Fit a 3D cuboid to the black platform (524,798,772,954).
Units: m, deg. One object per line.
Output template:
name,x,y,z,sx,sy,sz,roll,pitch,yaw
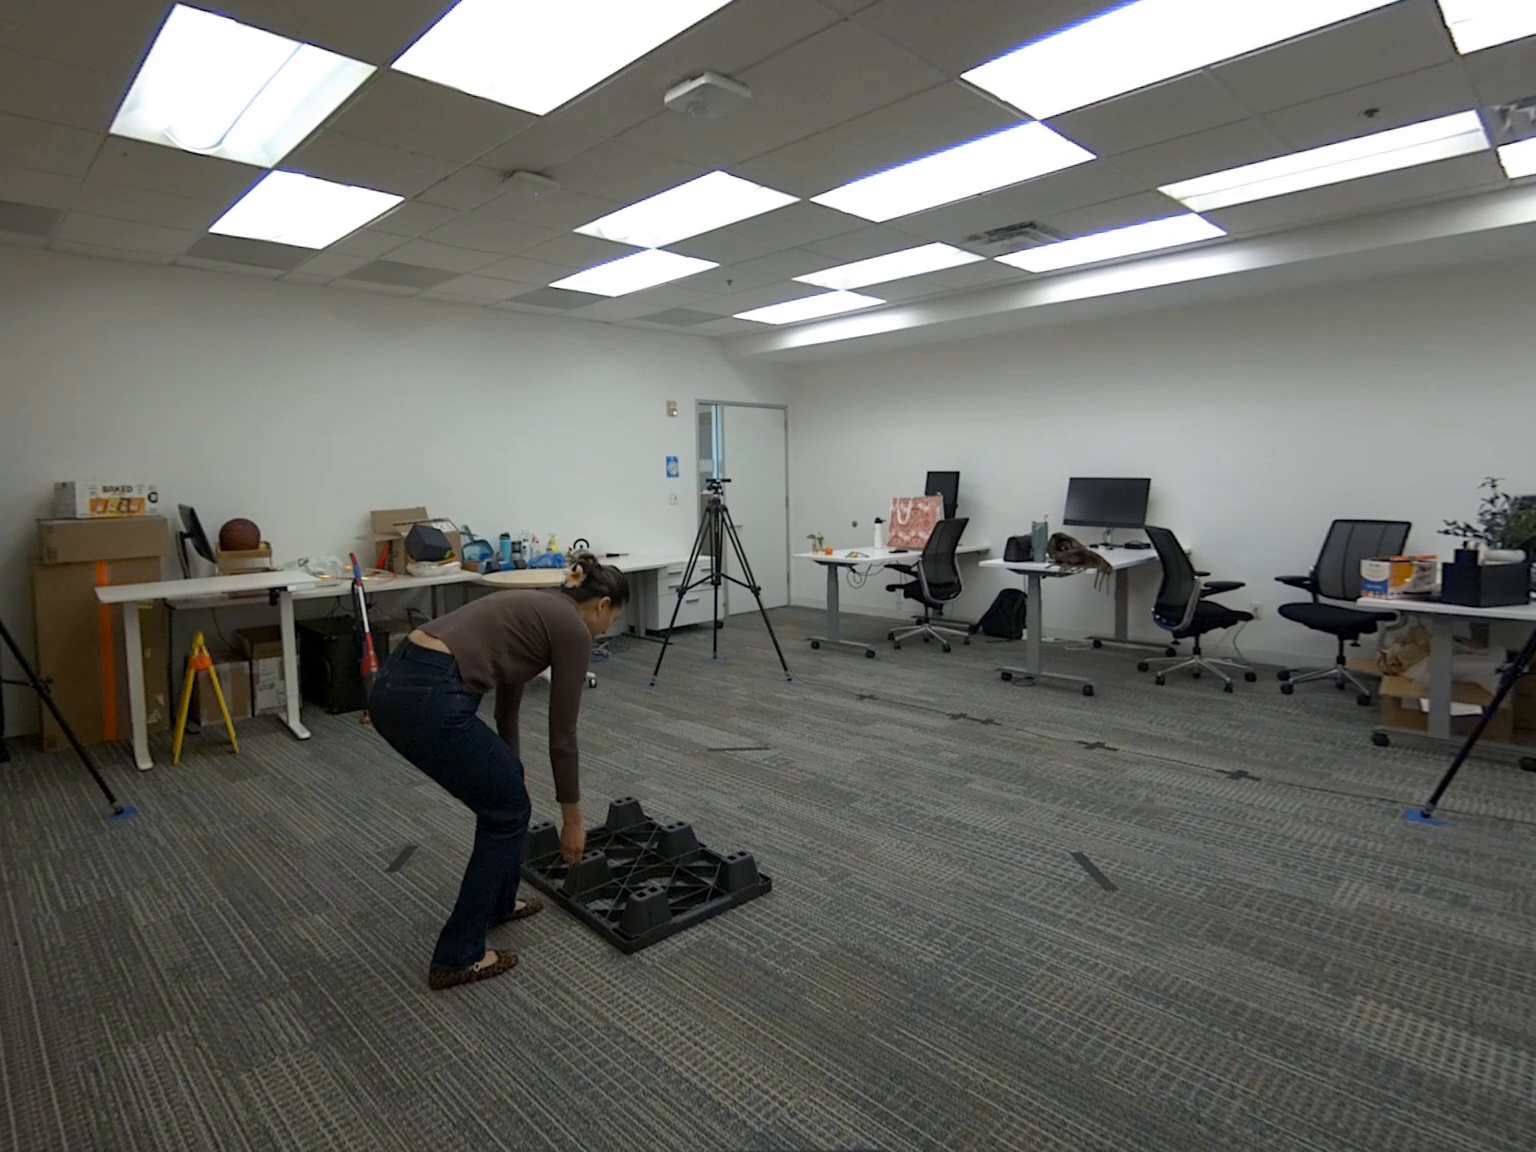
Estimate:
black platform,-0.460,0.998,3.009,0.590,0.142,0.831,-8,9,-42
